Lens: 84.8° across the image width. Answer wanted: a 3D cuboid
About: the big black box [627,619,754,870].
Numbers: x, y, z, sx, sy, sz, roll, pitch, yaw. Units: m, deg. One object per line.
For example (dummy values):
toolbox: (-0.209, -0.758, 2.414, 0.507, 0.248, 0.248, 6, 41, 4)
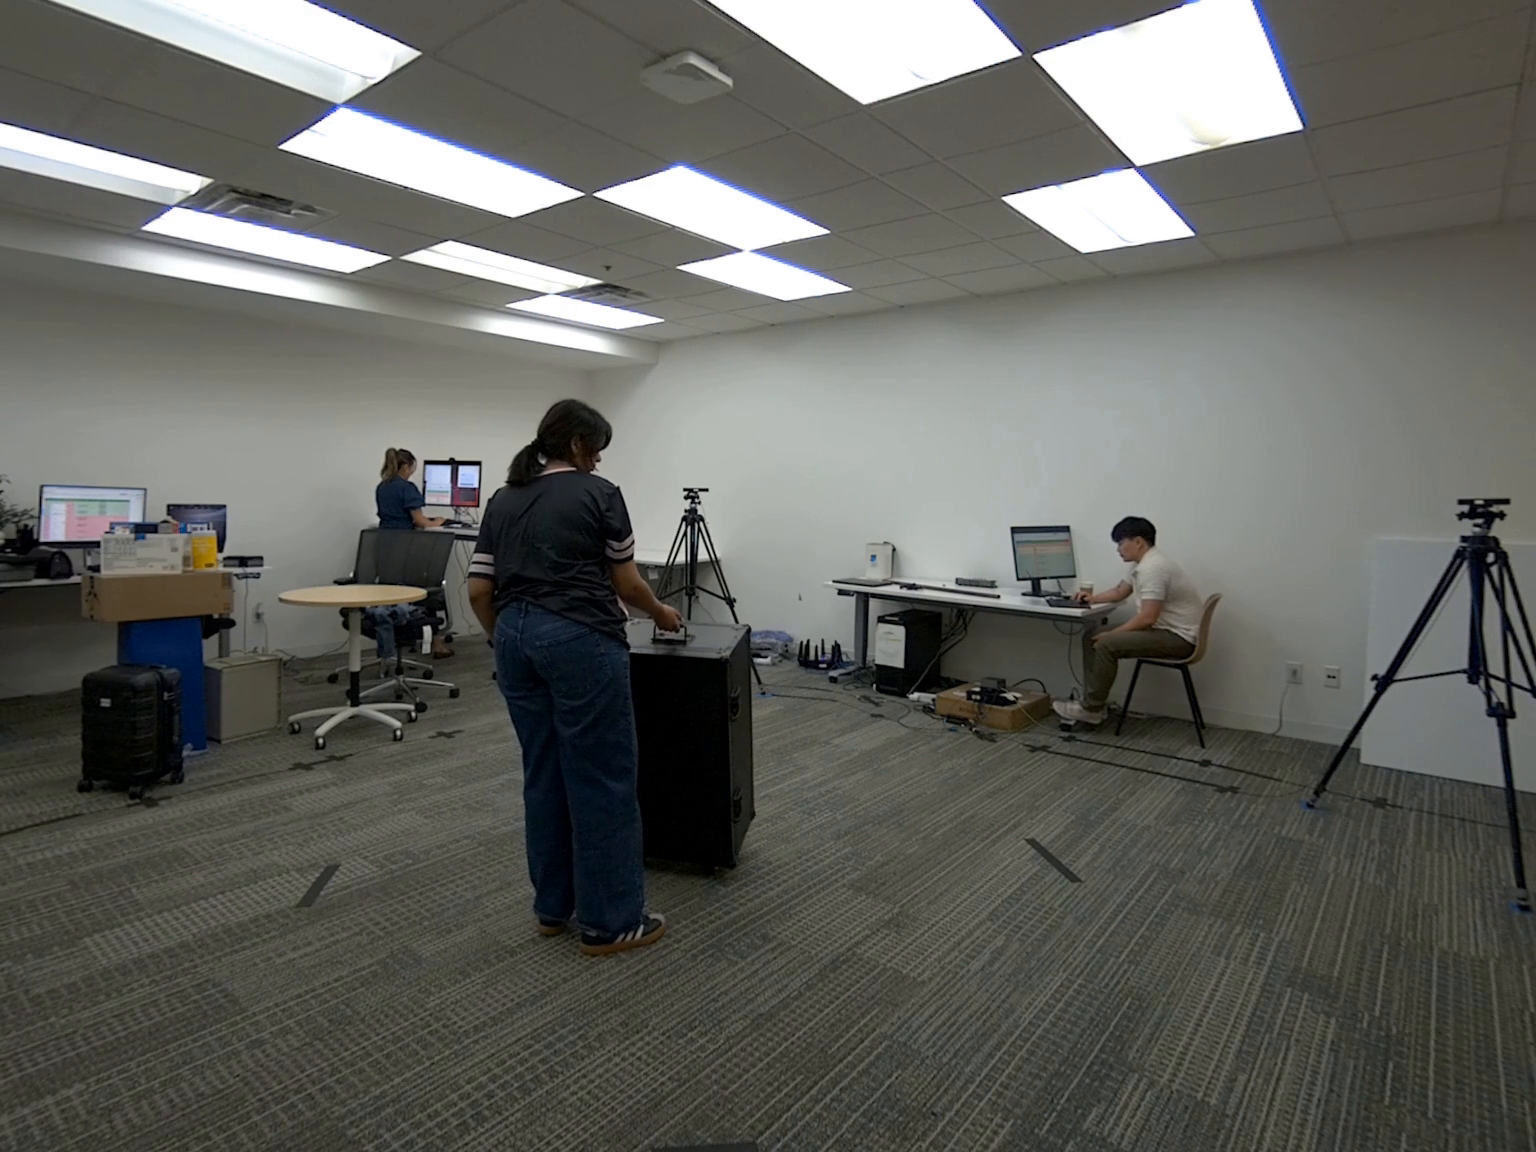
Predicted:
big black box: (-0.333, 0.625, 3.139, 0.529, 0.851, 0.395, 2, 13, 14)
